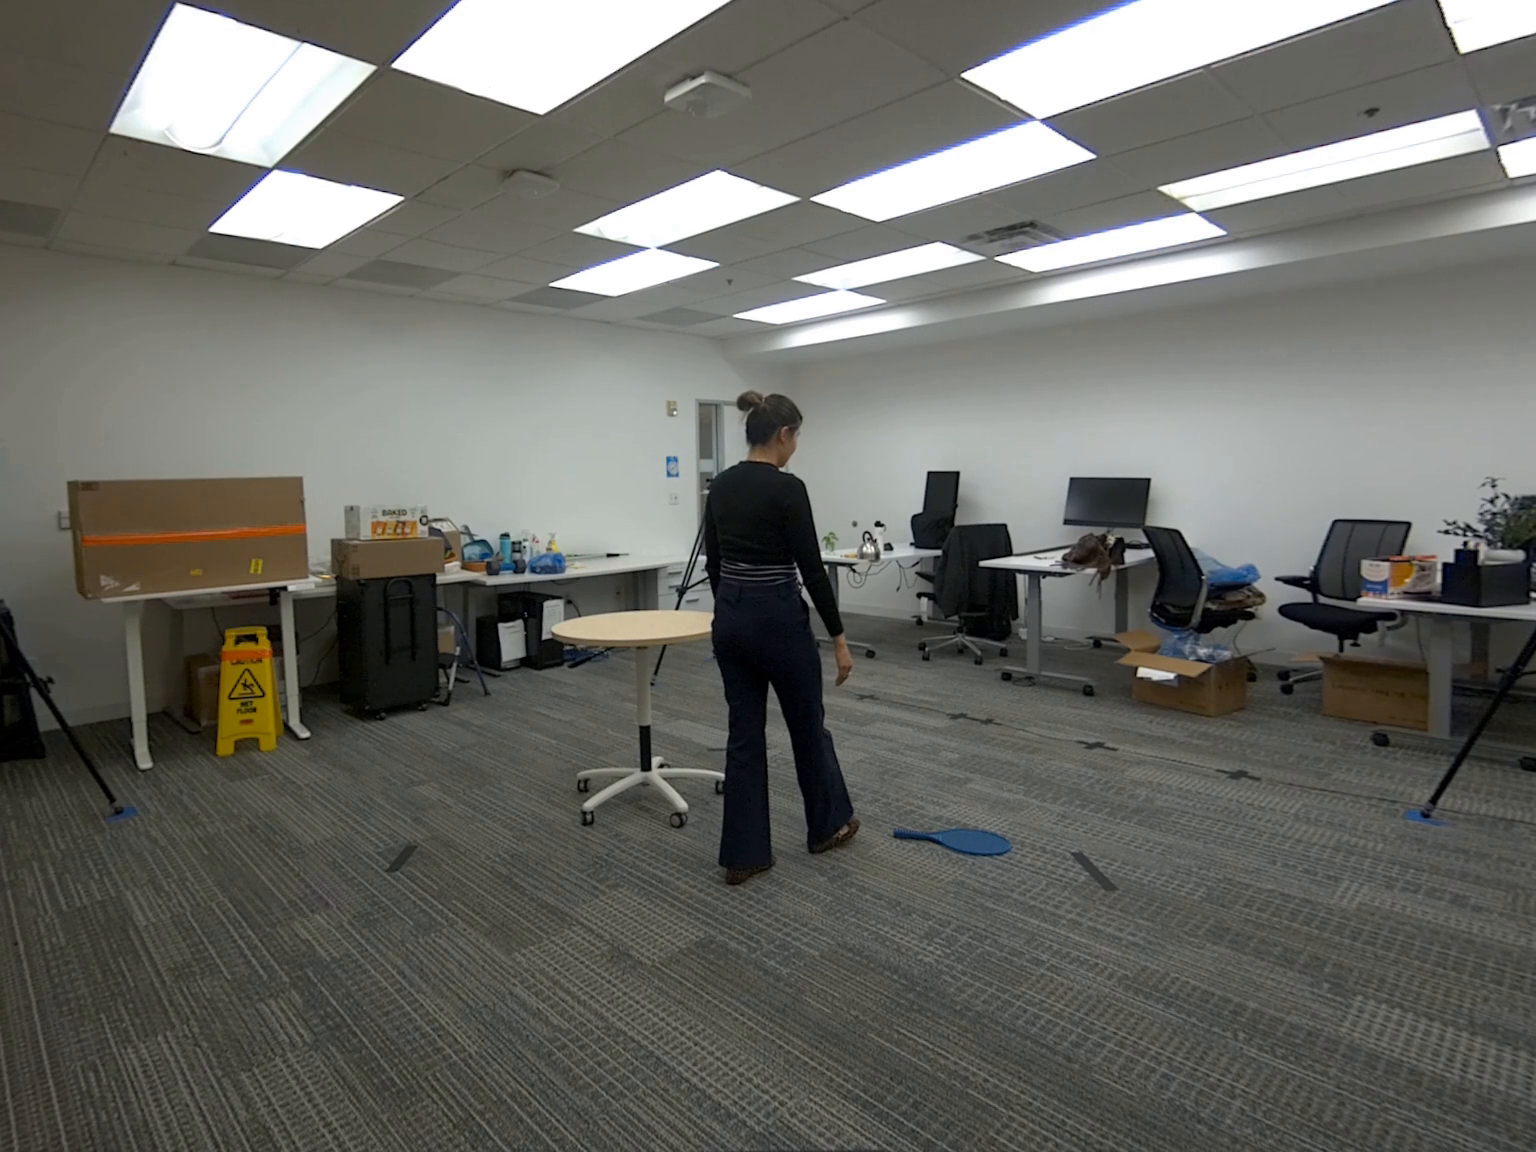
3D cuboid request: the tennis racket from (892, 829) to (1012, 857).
[{"bbox_3d":[0.695,0.999,3.253,0.438,0.031,0.212,2,6,12],"label":"tennis racket"}]
